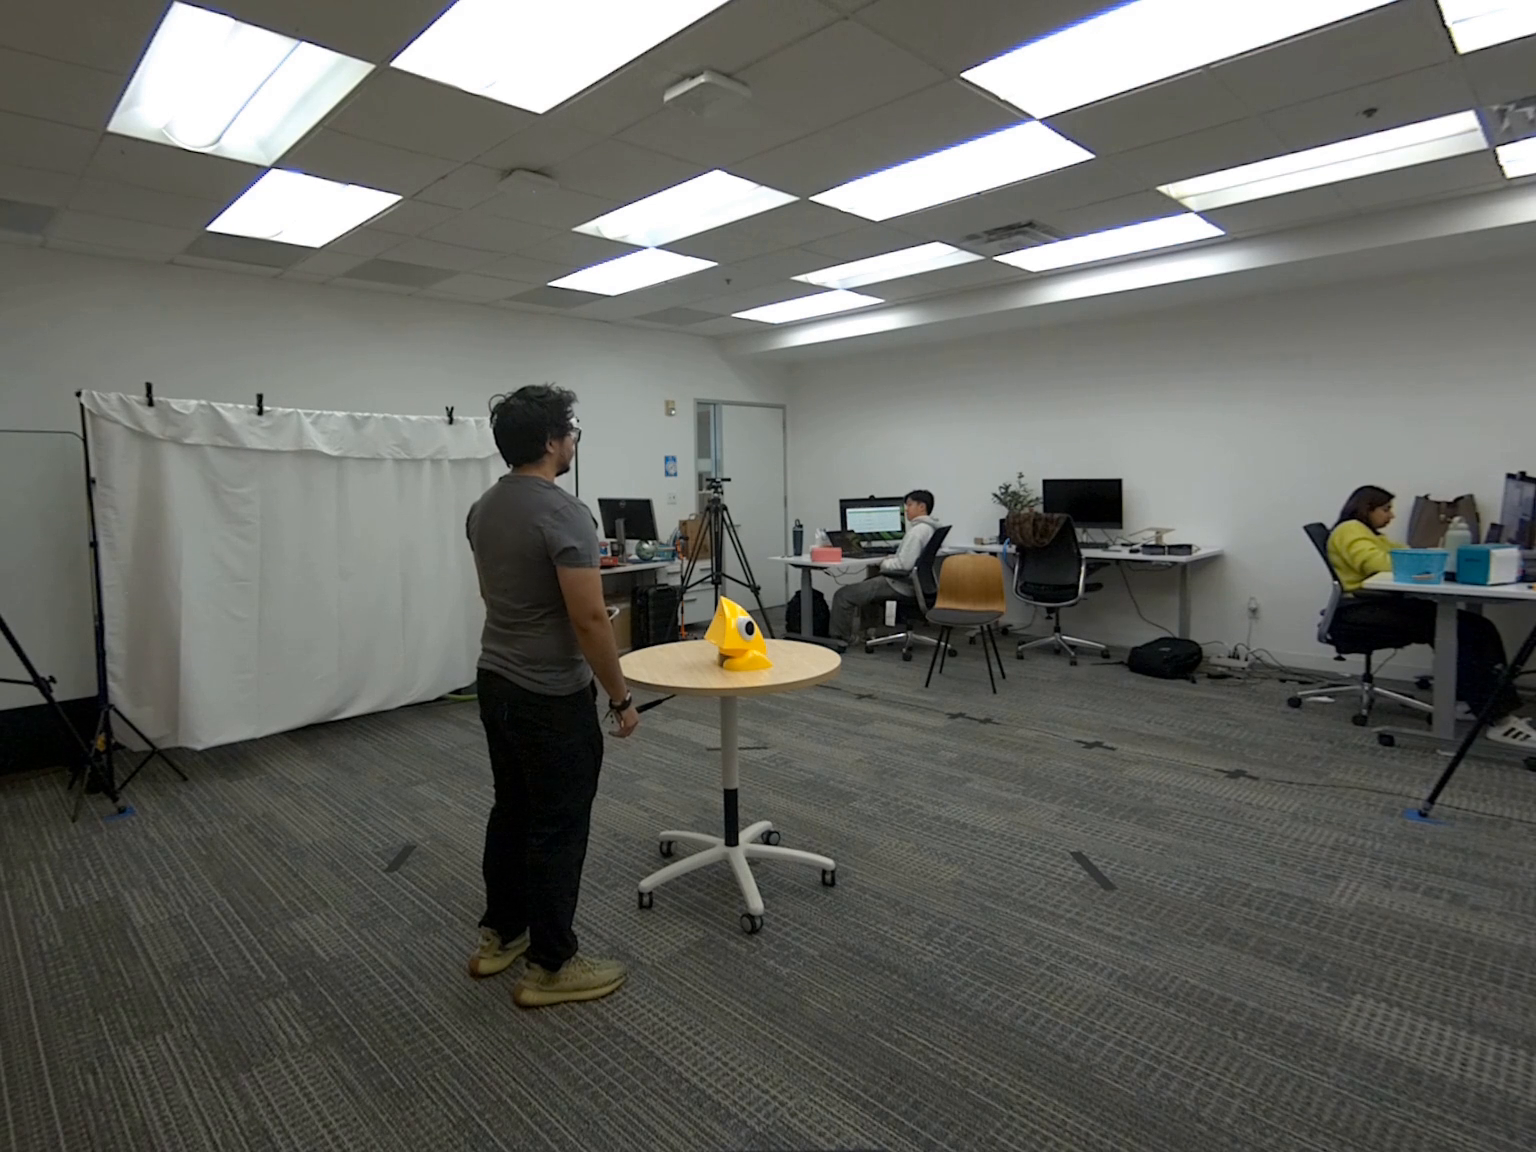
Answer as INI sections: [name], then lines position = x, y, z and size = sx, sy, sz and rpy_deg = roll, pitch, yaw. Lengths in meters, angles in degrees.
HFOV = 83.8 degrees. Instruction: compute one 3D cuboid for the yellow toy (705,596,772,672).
[yellow toy]
position = -0.091, 0.179, 2.821
size = 0.189, 0.230, 0.209
rpy_deg = -3, 5, -21
